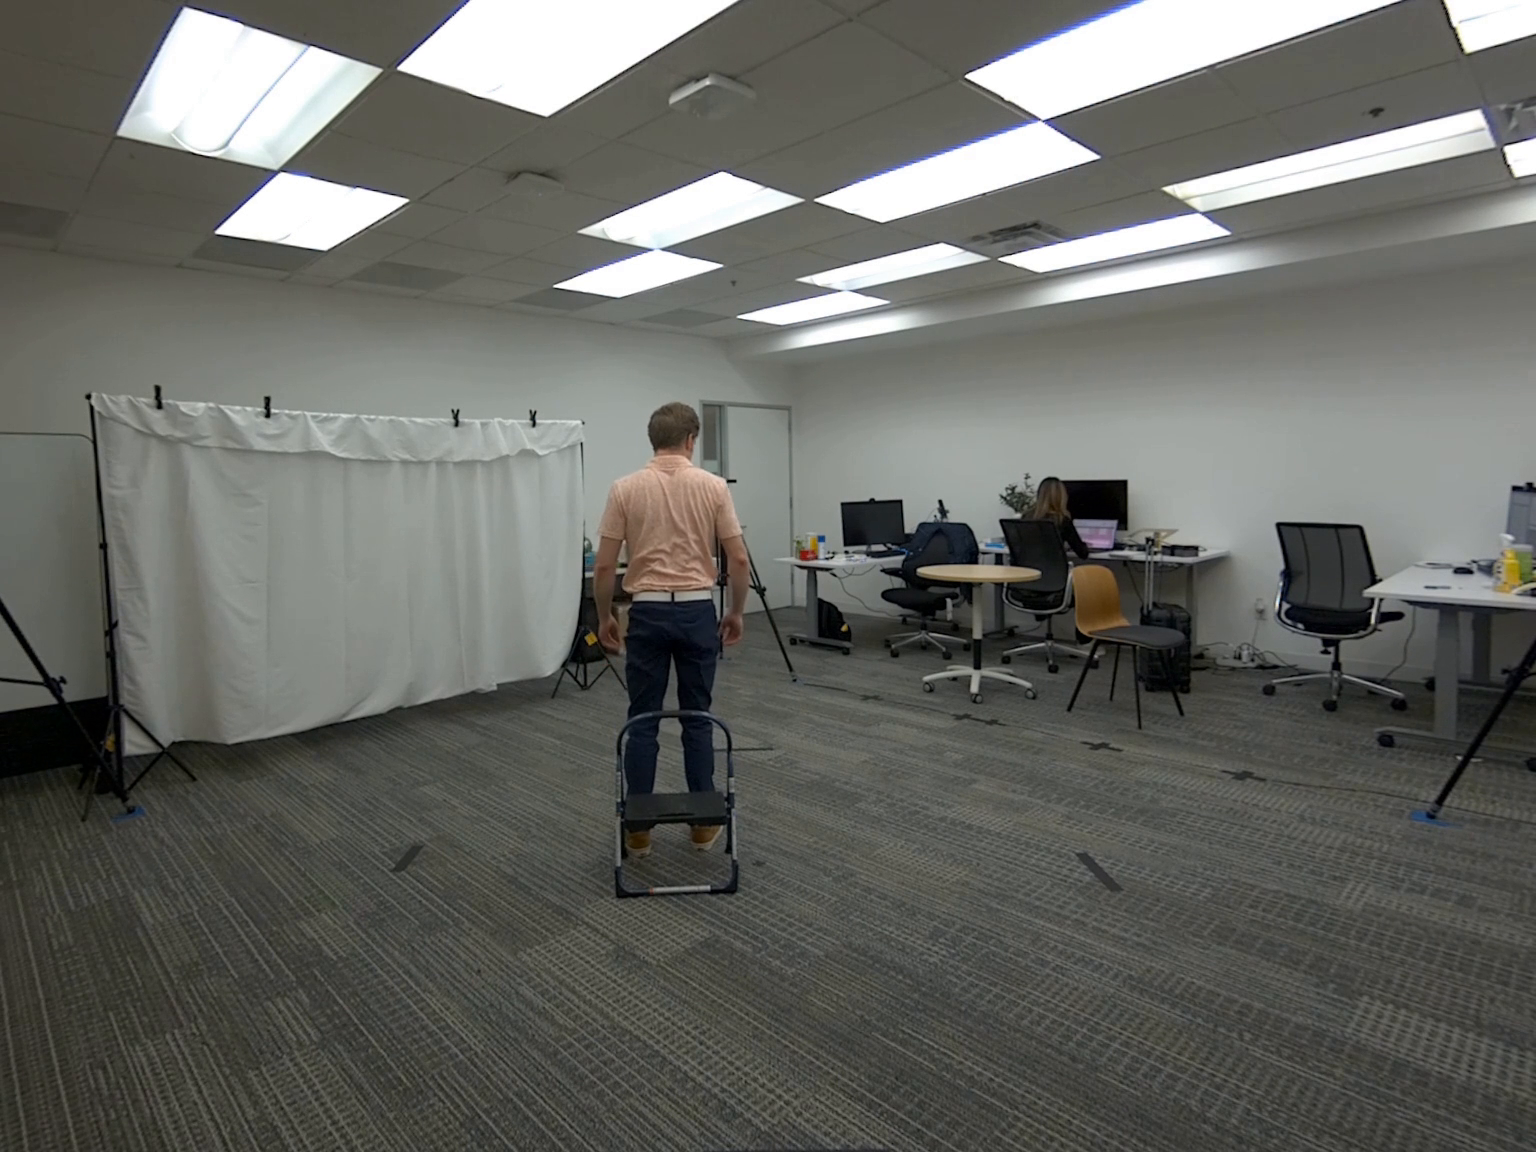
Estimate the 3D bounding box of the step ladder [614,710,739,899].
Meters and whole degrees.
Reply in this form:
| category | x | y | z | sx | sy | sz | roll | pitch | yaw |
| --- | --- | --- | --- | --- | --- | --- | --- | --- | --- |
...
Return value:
| category | x | y | z | sx | sy | sz | roll | pitch | yaw |
| --- | --- | --- | --- | --- | --- | --- | --- | --- | --- |
| step ladder | -0.328 | 0.766 | 3.025 | 0.429 | 0.604 | 0.352 | -2 | 4 | -5 |
